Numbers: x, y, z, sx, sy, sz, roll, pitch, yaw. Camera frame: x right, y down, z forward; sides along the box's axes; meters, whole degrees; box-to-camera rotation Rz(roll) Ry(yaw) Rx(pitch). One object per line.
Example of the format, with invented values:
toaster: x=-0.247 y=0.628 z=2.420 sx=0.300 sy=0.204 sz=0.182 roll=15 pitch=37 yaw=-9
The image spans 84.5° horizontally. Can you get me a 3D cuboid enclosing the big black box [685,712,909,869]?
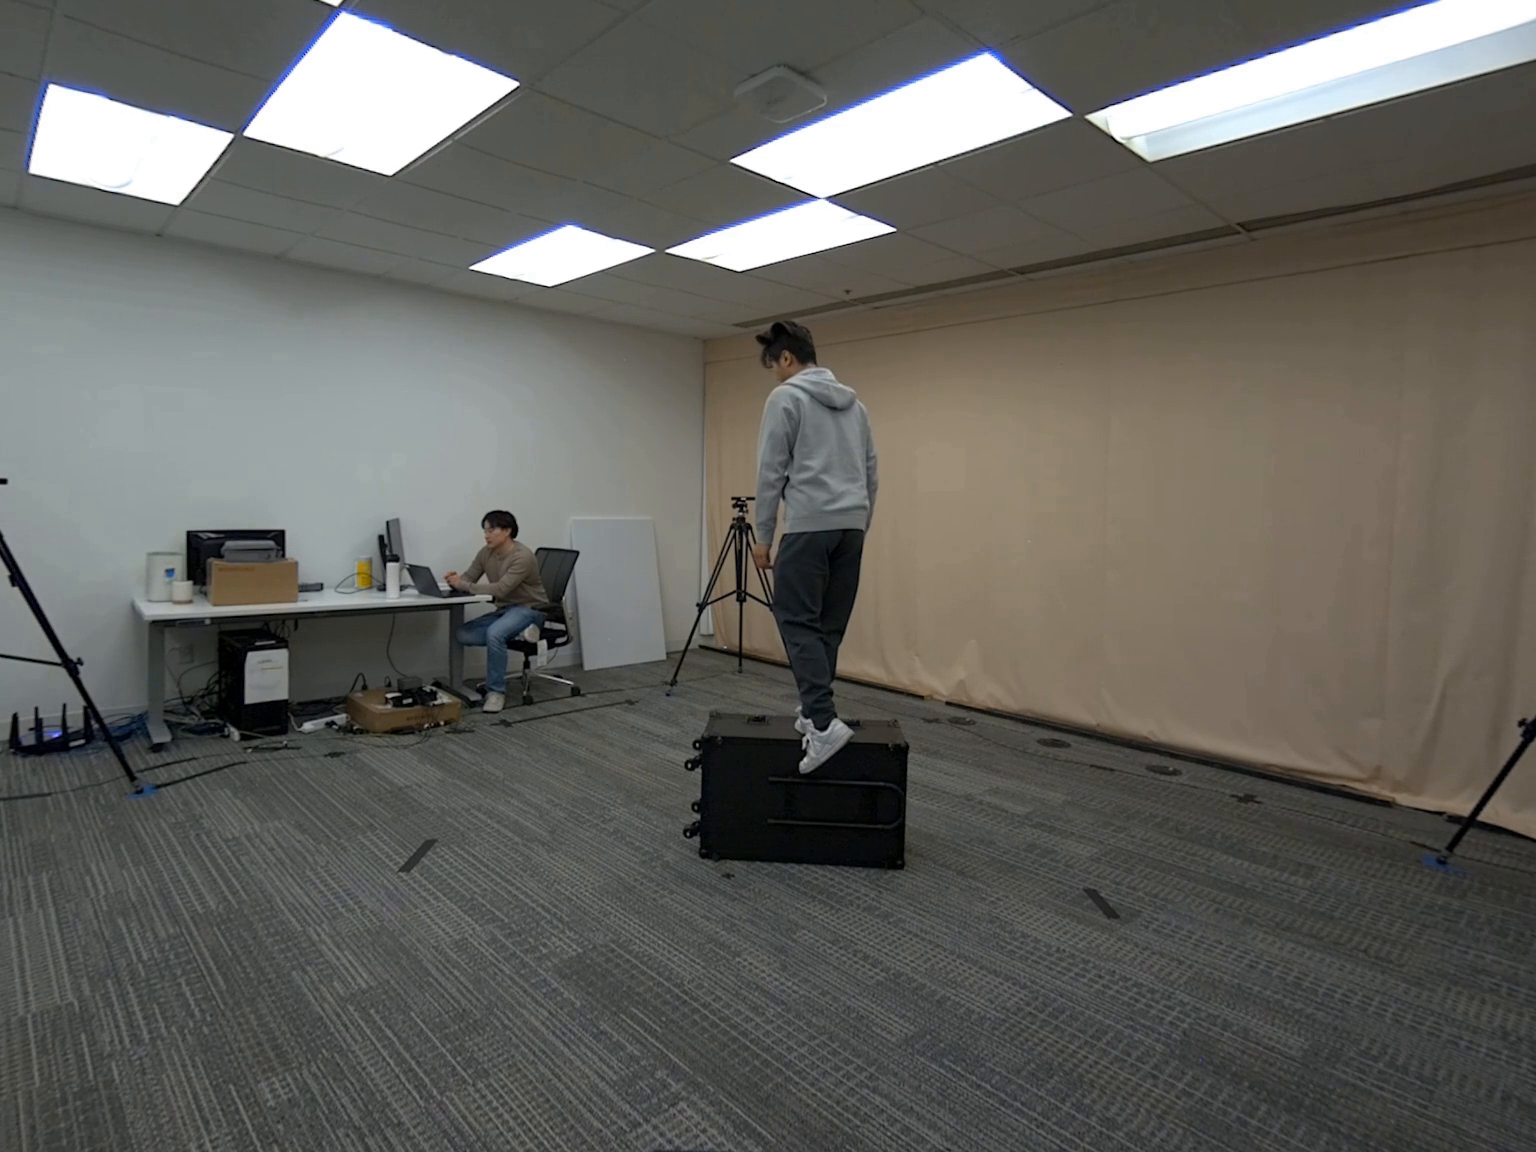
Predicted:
big black box: x=0.099 y=0.848 z=3.370 sx=0.865 sy=0.520 sz=0.396 roll=2 pitch=4 yaw=4
